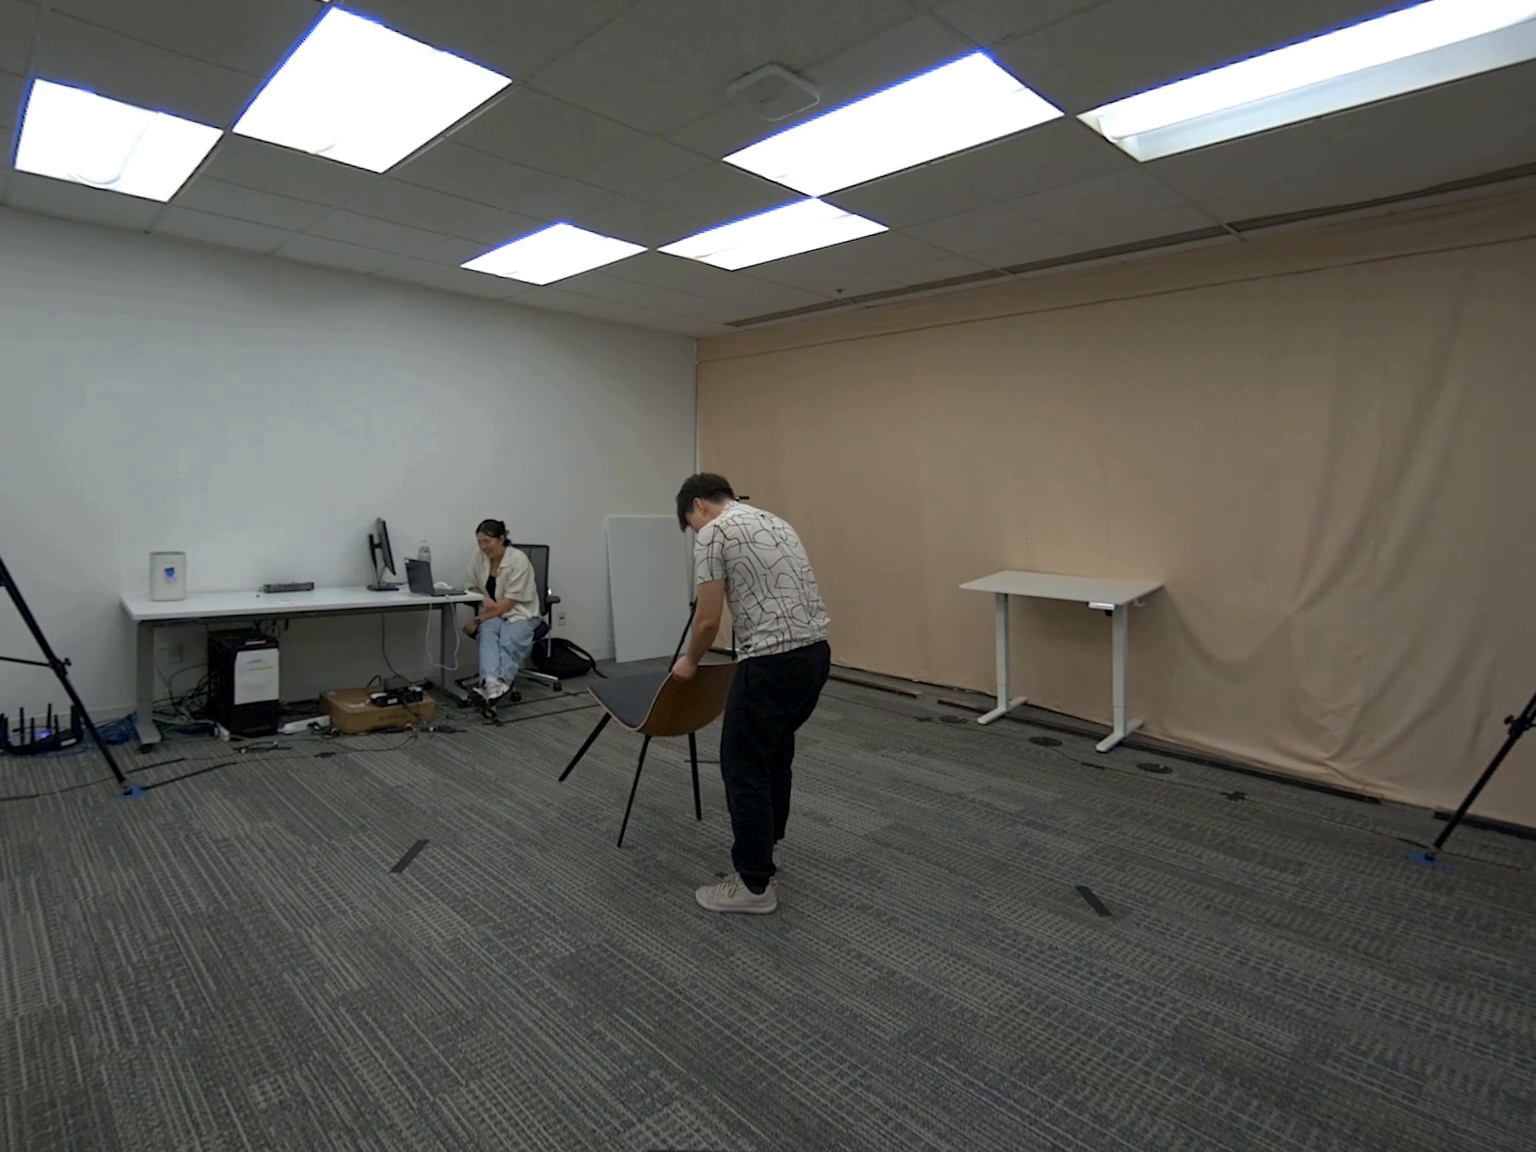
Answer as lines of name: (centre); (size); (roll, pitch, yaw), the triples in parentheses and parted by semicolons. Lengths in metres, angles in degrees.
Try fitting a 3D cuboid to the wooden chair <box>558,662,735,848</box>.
wooden chair: (-0.478, 0.578, 3.496); (0.467, 0.870, 0.539); (-2, 31, -46)
